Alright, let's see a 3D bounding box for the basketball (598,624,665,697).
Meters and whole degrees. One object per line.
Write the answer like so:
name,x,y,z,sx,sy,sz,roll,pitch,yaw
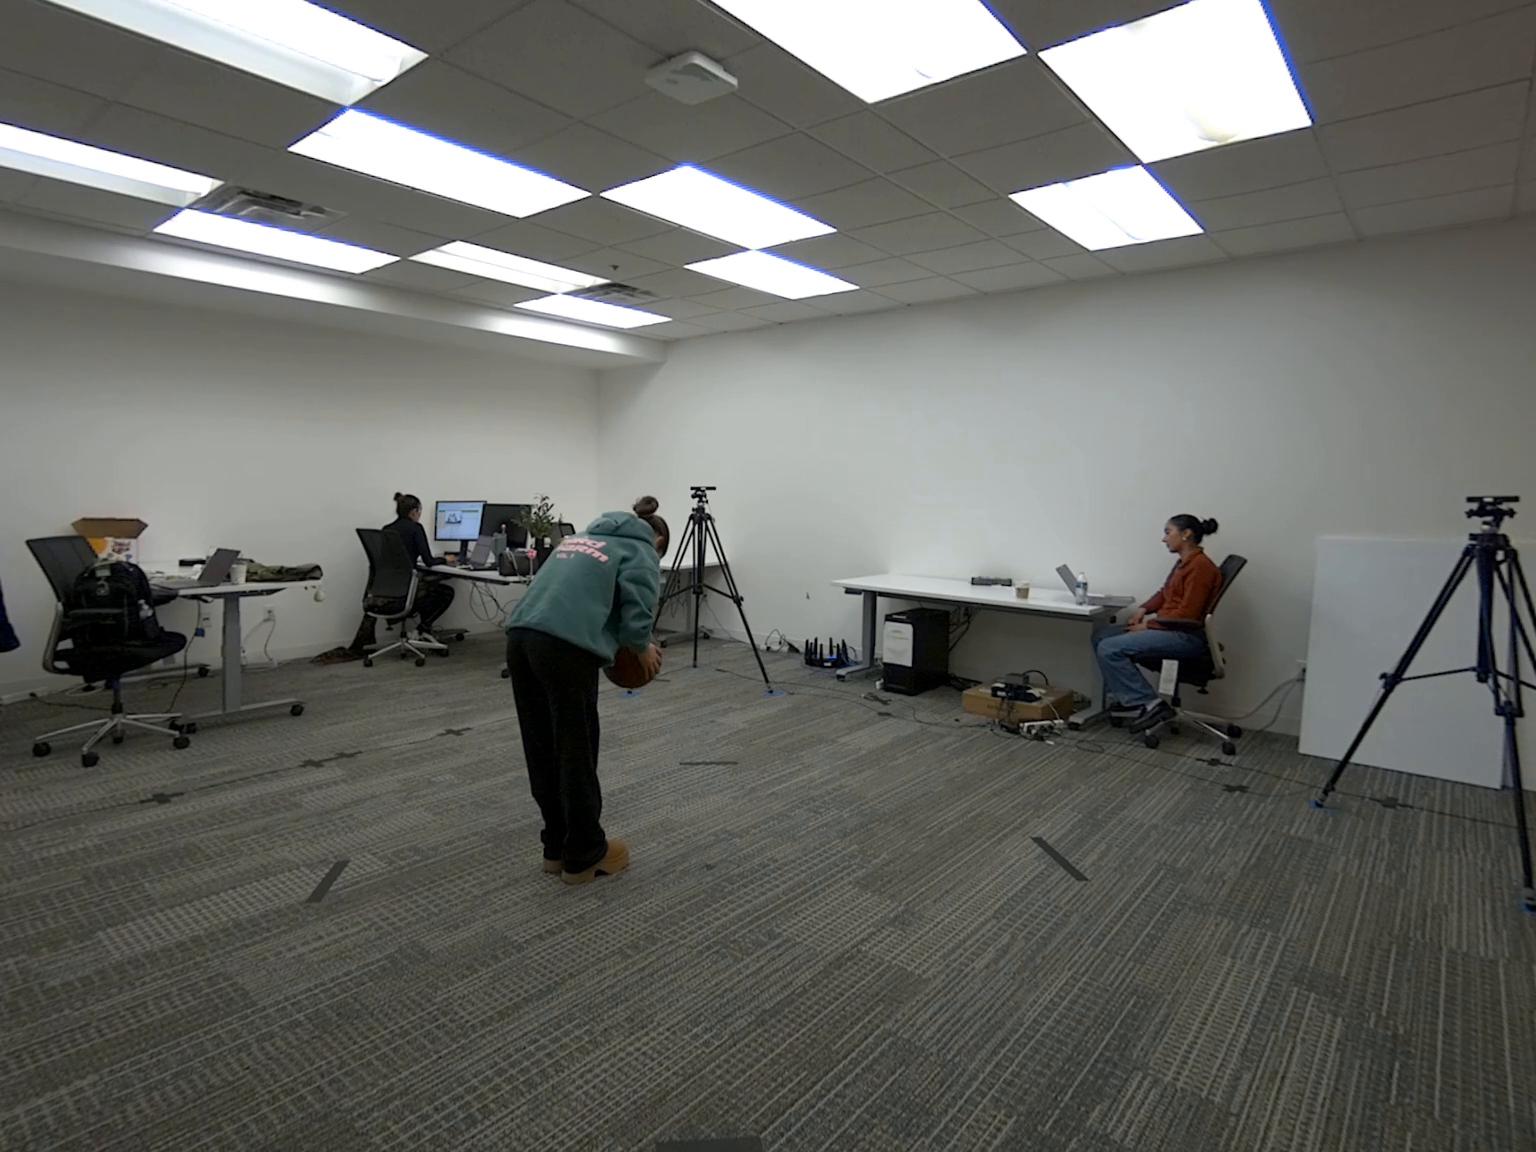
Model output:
basketball,-0.535,0.322,3.293,0.235,0.235,0.237,1,4,-2
